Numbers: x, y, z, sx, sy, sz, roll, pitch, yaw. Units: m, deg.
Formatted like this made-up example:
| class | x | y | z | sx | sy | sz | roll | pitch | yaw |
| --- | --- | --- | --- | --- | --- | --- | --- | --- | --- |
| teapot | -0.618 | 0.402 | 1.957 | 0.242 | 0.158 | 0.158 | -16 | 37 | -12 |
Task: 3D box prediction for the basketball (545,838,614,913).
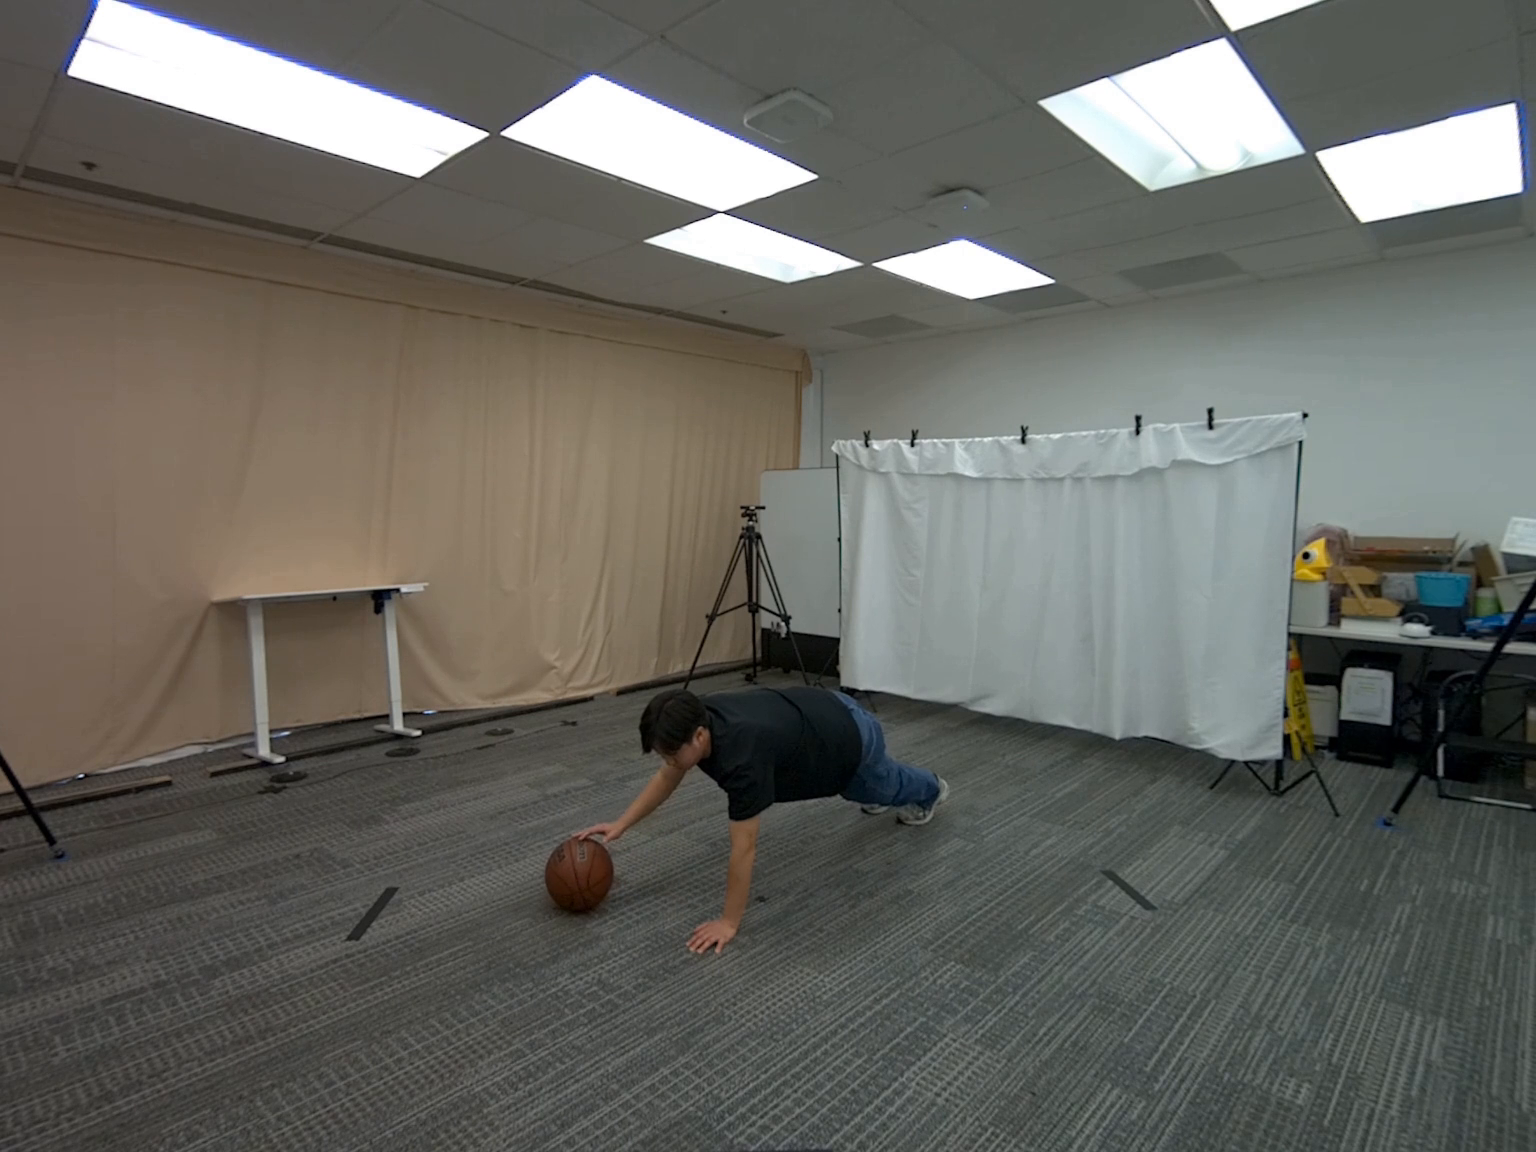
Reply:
| class | x | y | z | sx | sy | sz | roll | pitch | yaw |
| --- | --- | --- | --- | --- | --- | --- | --- | --- | --- |
| basketball | -0.652 | 1.035 | 2.923 | 0.236 | 0.235 | 0.237 | 0 | 4 | -2 |
